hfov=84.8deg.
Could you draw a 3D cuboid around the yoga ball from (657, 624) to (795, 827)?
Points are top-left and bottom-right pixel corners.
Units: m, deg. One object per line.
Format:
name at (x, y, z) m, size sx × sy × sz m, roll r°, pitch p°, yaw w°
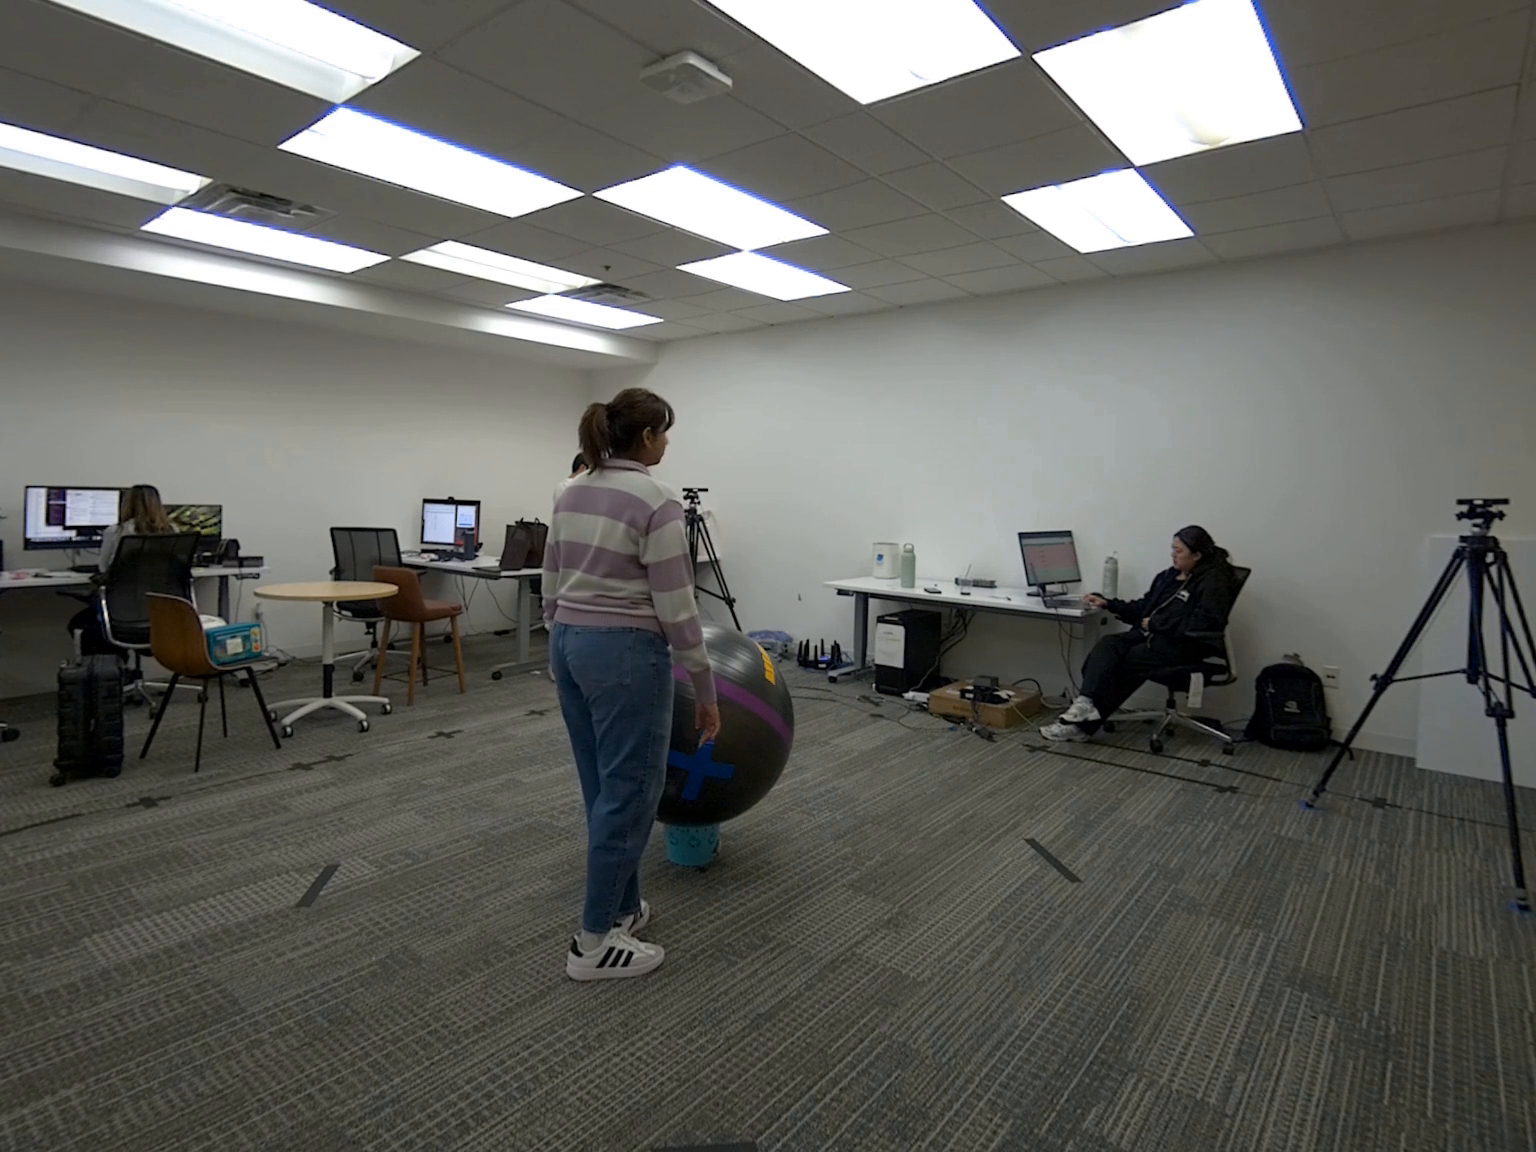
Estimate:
yoga ball at (-0.290, 0.547, 3.208) m, size 0.757 × 0.756 × 0.762 m, roll 1°, pitch 4°, yaw -2°
